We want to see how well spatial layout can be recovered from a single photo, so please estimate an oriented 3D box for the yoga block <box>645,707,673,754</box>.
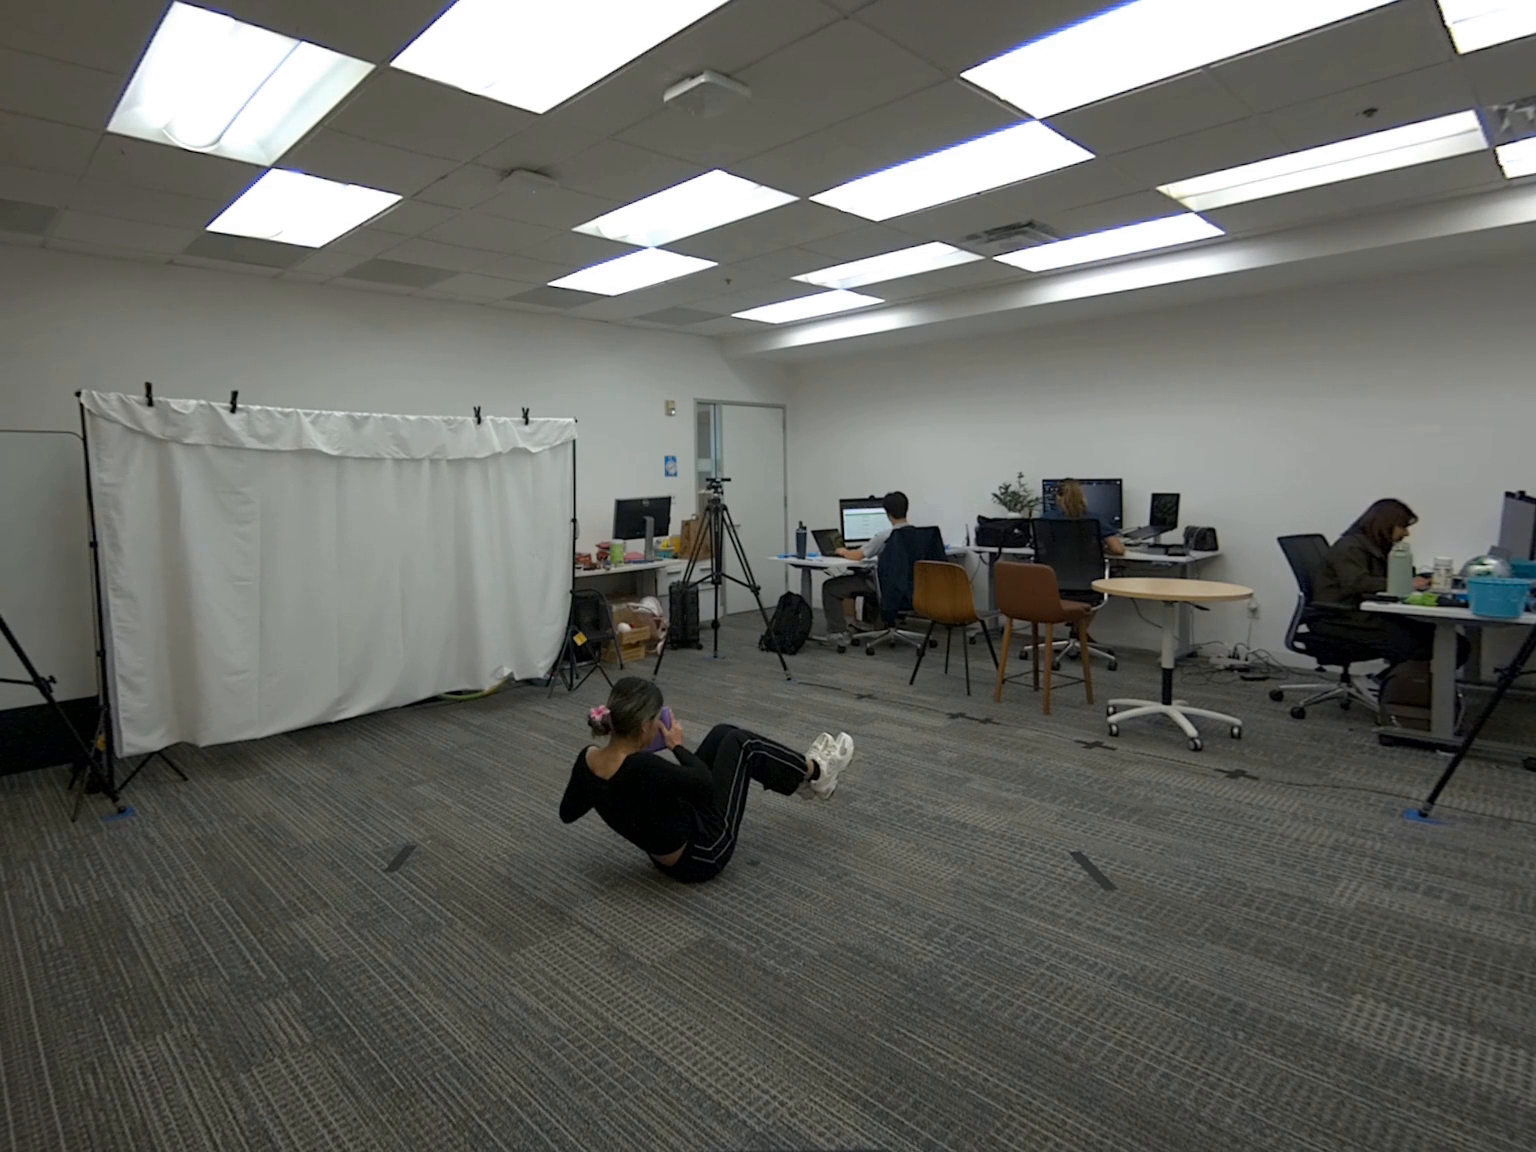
[{"bbox_3d":[-0.462,0.613,3.238,0.231,0.151,0.075,-21,-12,14],"label":"yoga block"}]
